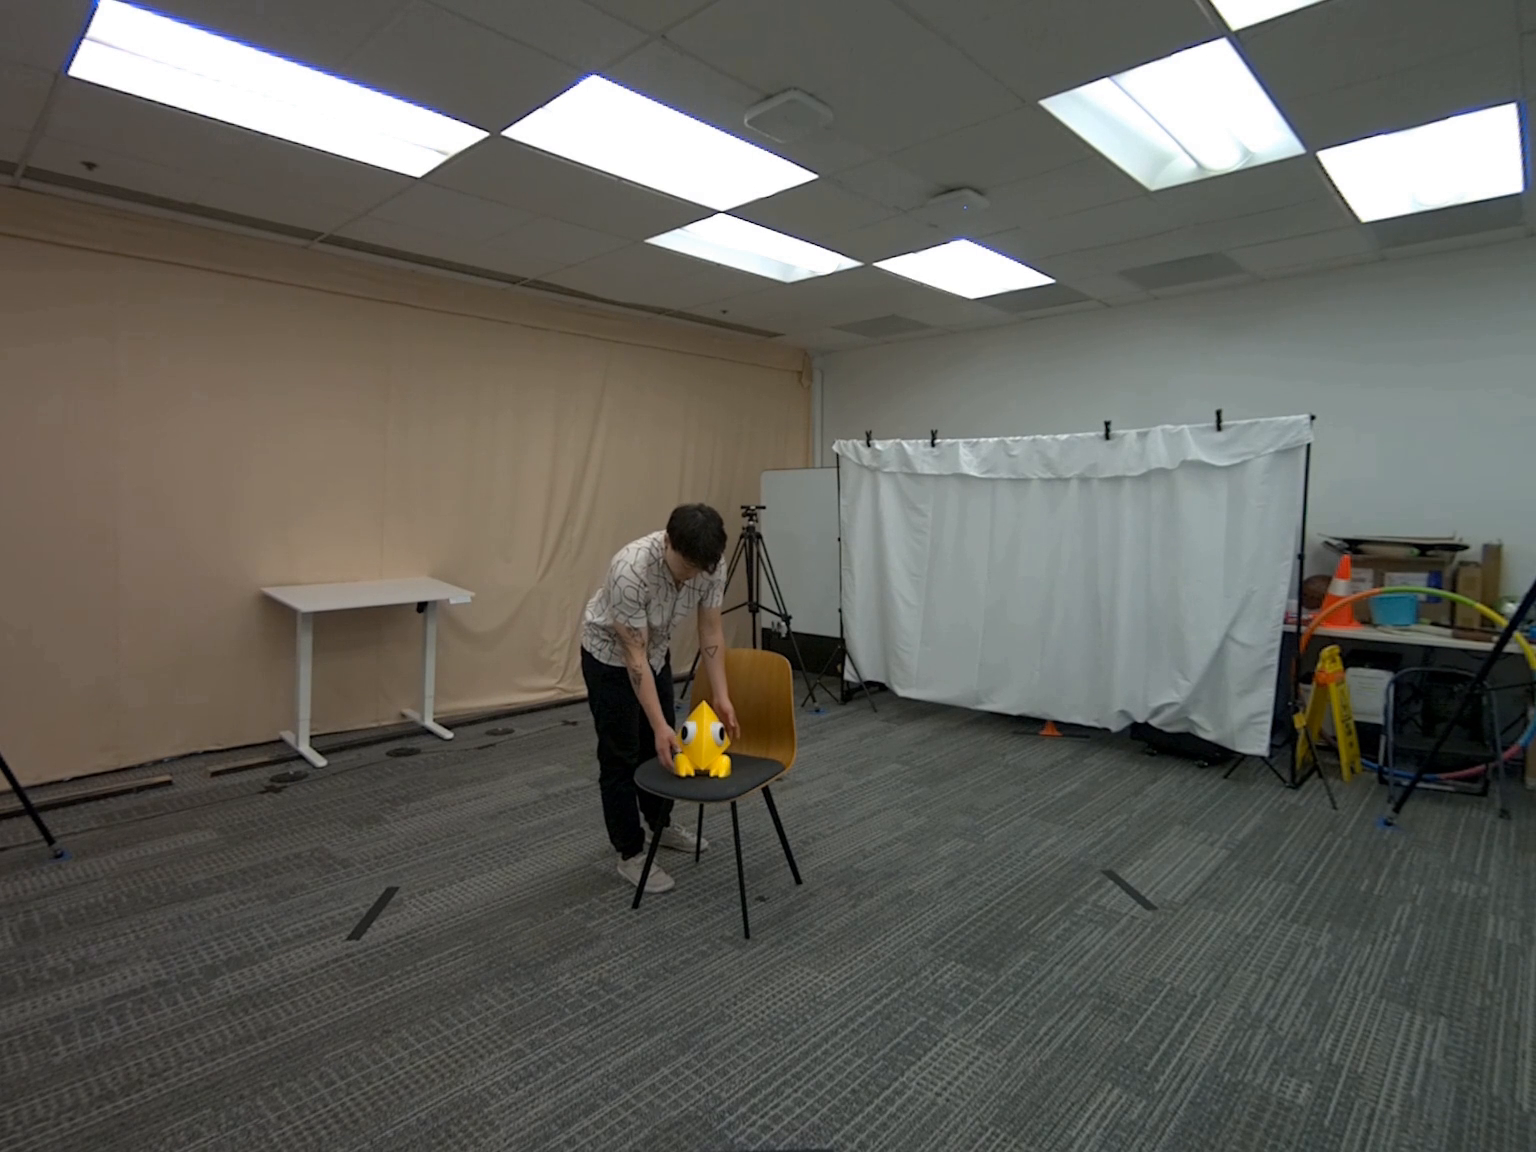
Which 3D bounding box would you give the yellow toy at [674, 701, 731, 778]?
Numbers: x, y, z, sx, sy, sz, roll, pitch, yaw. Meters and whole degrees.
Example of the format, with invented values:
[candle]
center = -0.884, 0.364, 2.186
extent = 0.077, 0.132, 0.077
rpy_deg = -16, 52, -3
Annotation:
[yellow toy]
center = -0.221, 0.555, 2.902
extent = 0.204, 0.231, 0.193
rpy_deg = 3, -1, -3
